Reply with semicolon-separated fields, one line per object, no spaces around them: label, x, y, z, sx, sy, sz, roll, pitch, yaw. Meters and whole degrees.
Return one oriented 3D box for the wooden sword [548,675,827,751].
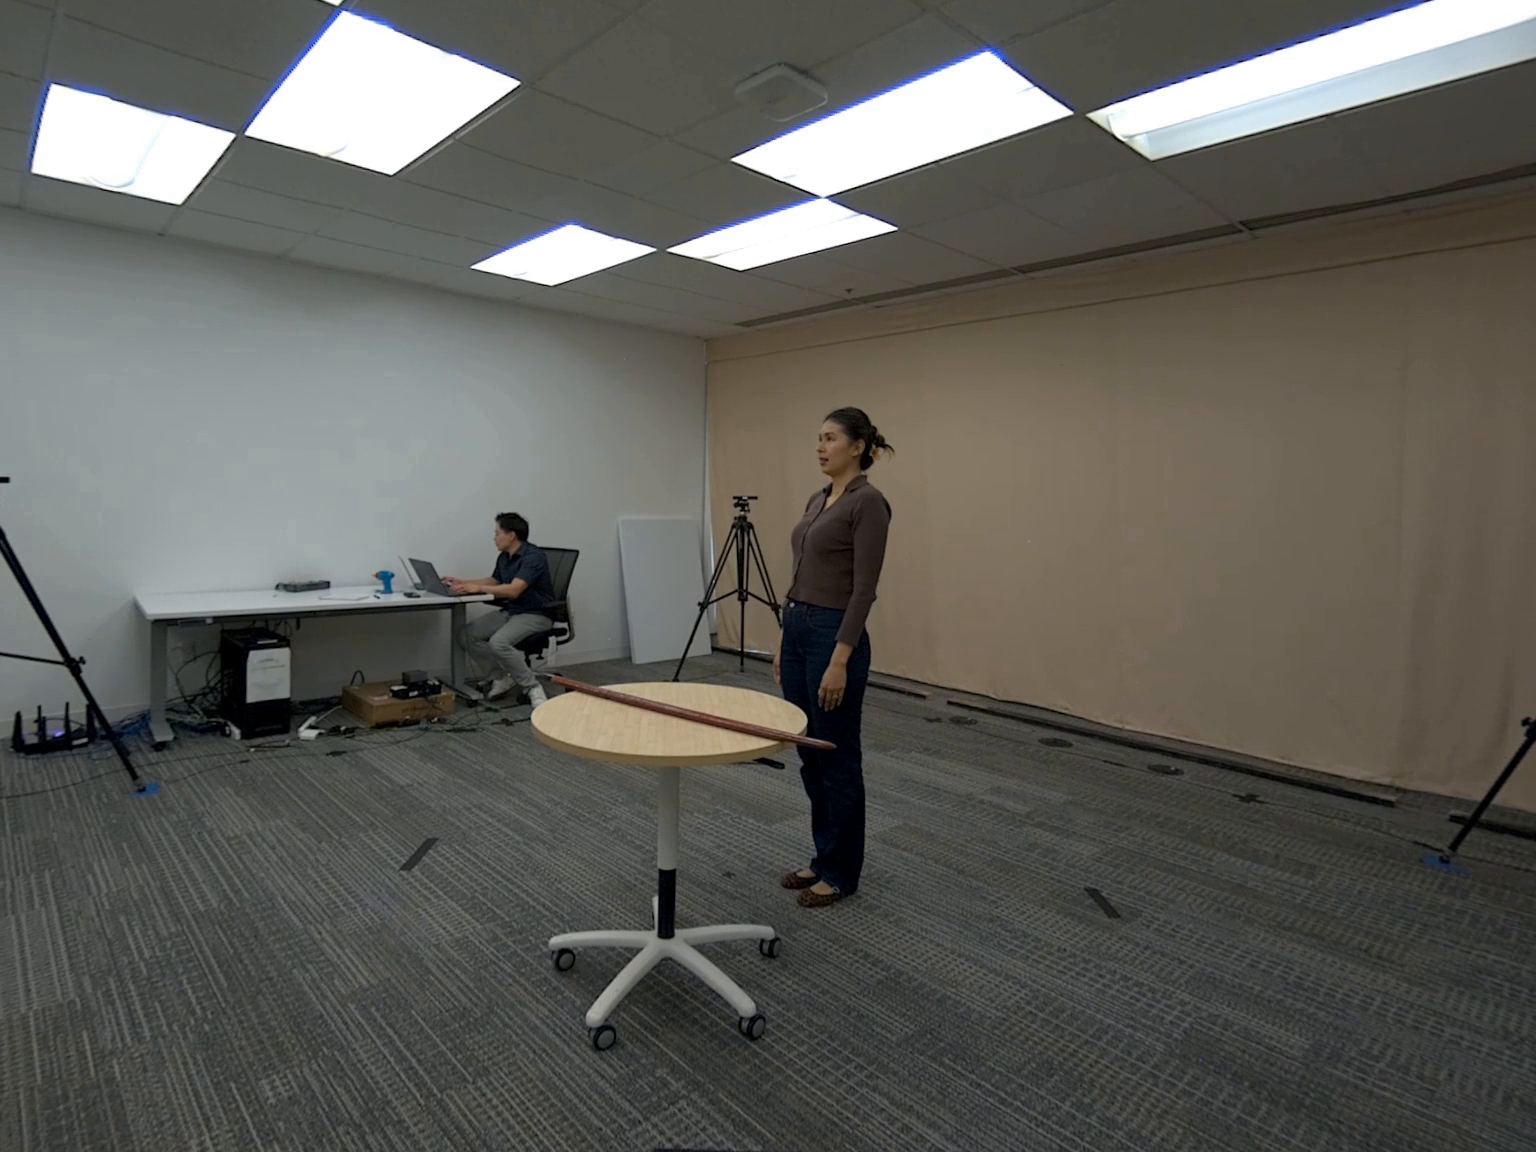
wooden sword;-0.304;0.382;2.355;1.050;0.050;0.024;6;40;38
